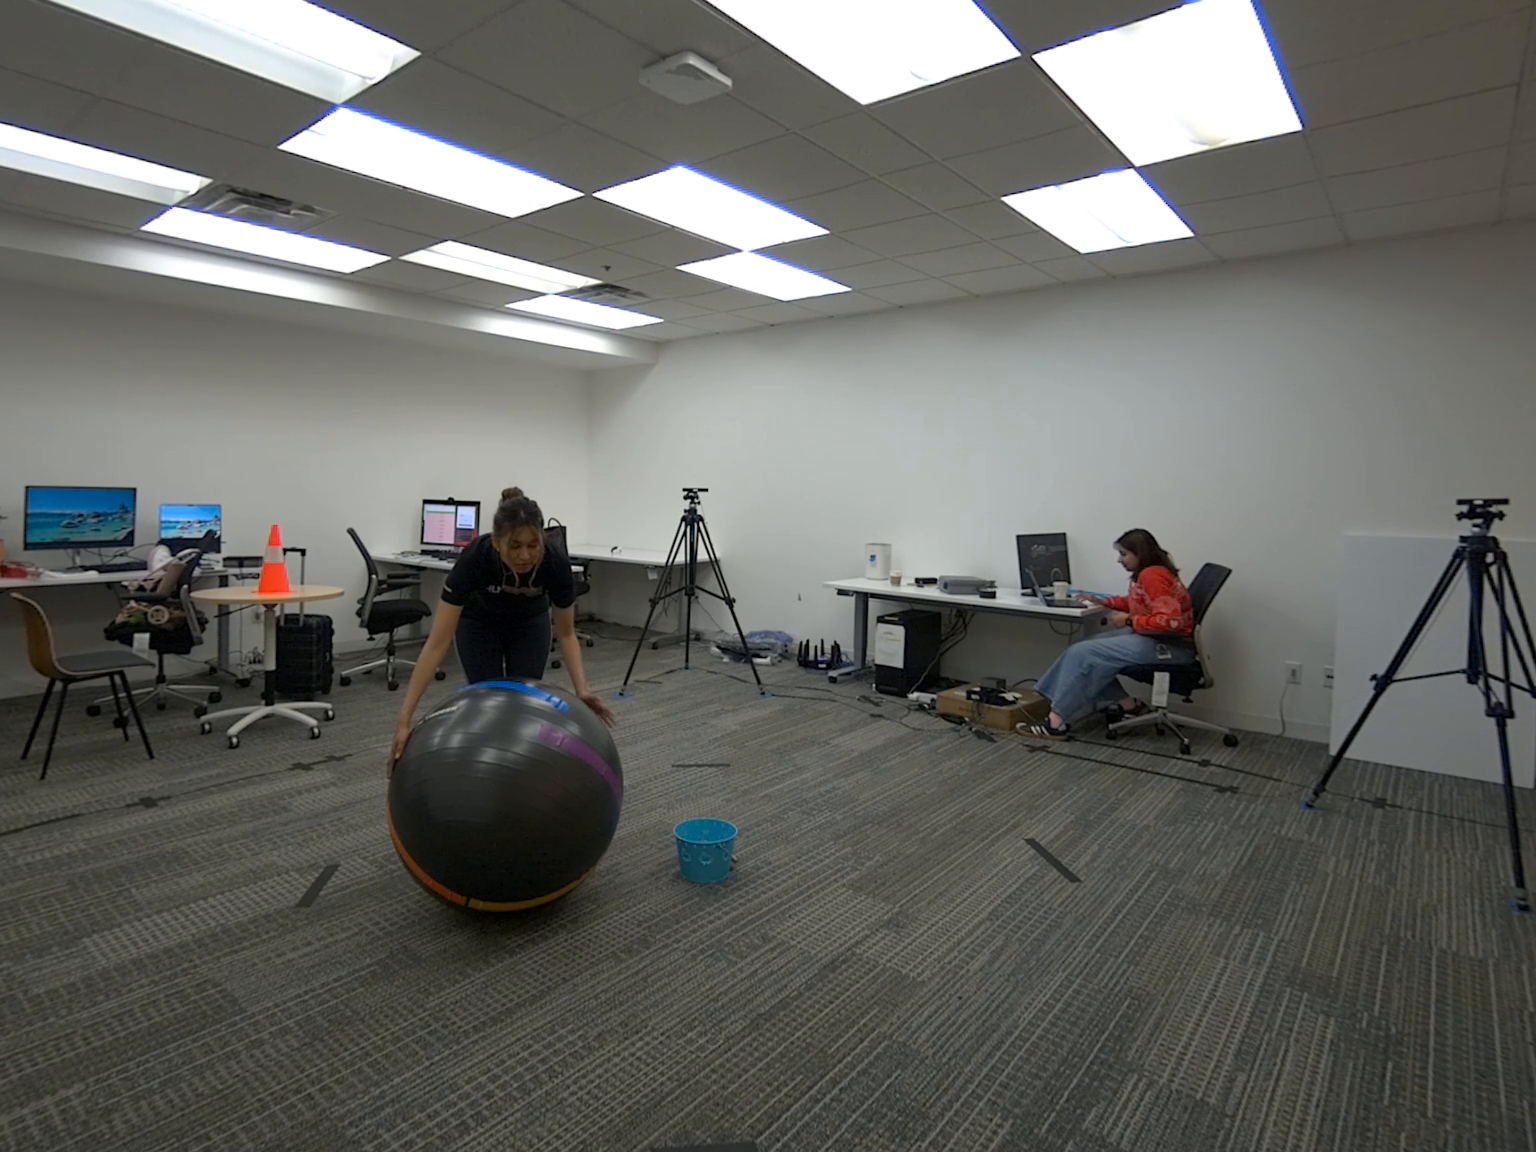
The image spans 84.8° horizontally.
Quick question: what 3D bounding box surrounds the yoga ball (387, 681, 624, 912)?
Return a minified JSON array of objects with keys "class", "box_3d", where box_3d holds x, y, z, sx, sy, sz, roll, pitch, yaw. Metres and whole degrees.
[{"class":"yoga ball","box_3d":[-0.873,0.718,2.817,0.757,0.755,0.762,1,4,-2]}]
